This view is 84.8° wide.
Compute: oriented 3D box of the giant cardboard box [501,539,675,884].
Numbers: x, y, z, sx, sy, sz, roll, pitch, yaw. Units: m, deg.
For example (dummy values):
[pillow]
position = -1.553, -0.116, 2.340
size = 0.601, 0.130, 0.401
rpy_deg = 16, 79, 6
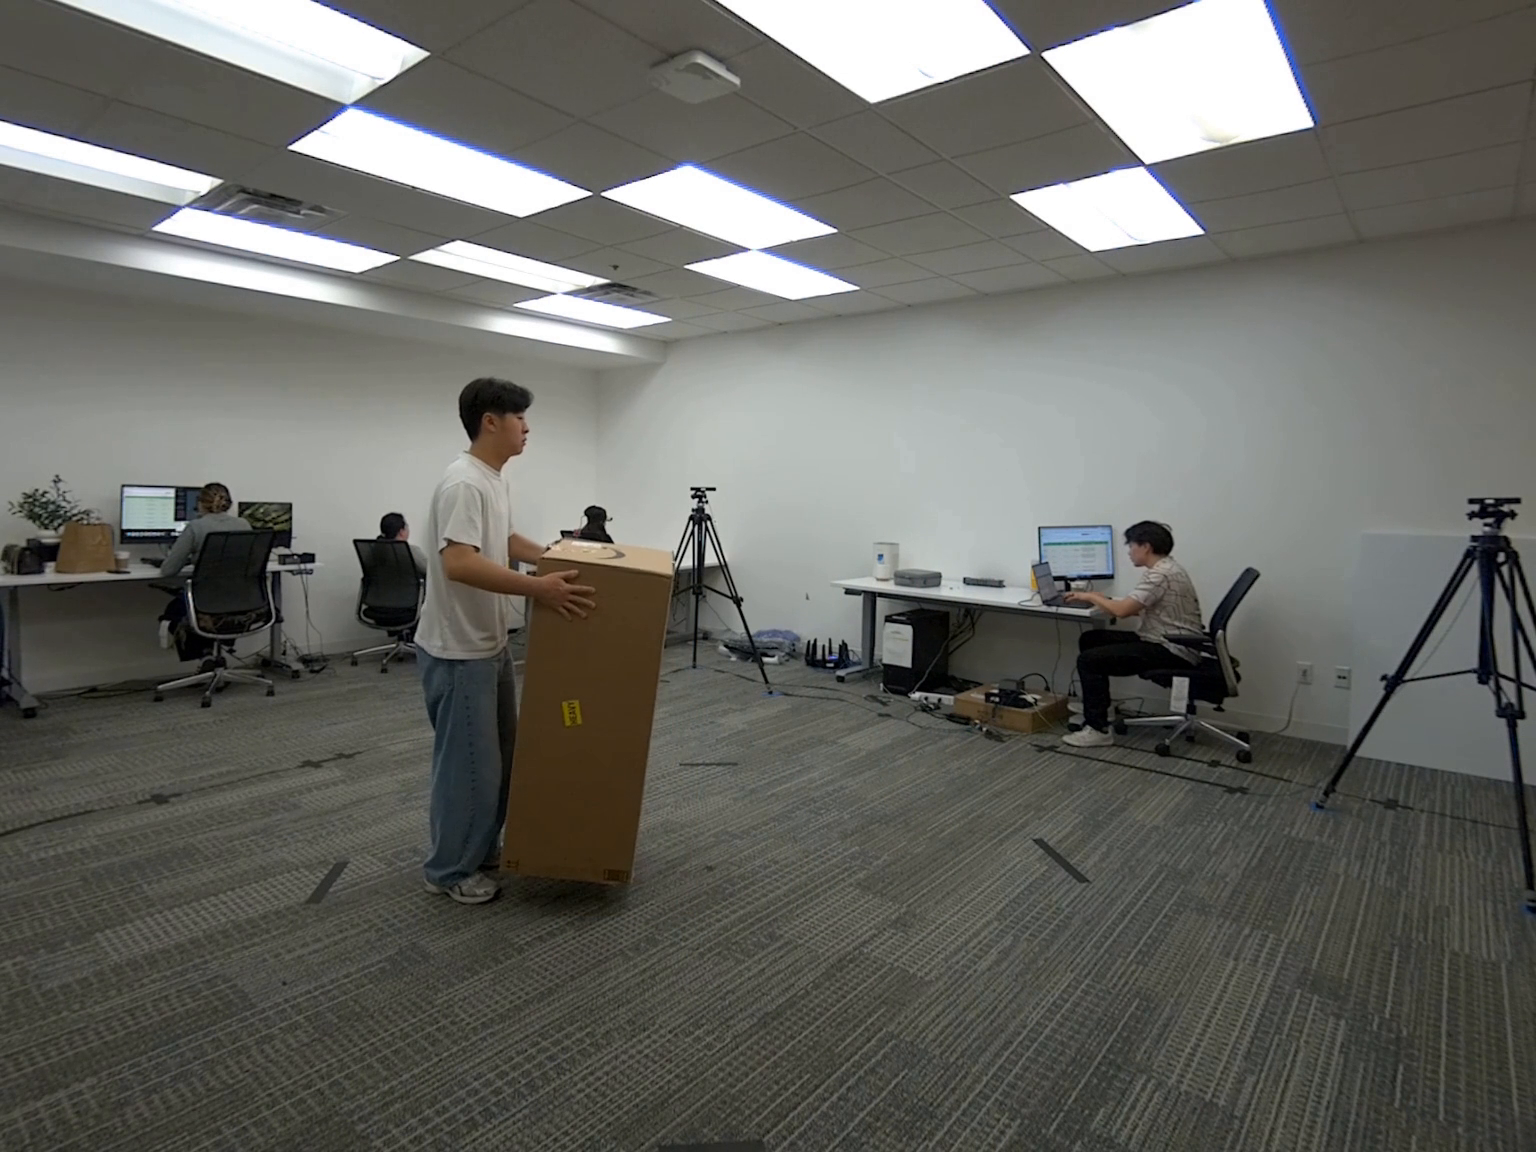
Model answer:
[giant cardboard box]
position = -0.614, 0.430, 2.957
size = 0.423, 1.021, 0.584
rpy_deg = 7, 5, -7
